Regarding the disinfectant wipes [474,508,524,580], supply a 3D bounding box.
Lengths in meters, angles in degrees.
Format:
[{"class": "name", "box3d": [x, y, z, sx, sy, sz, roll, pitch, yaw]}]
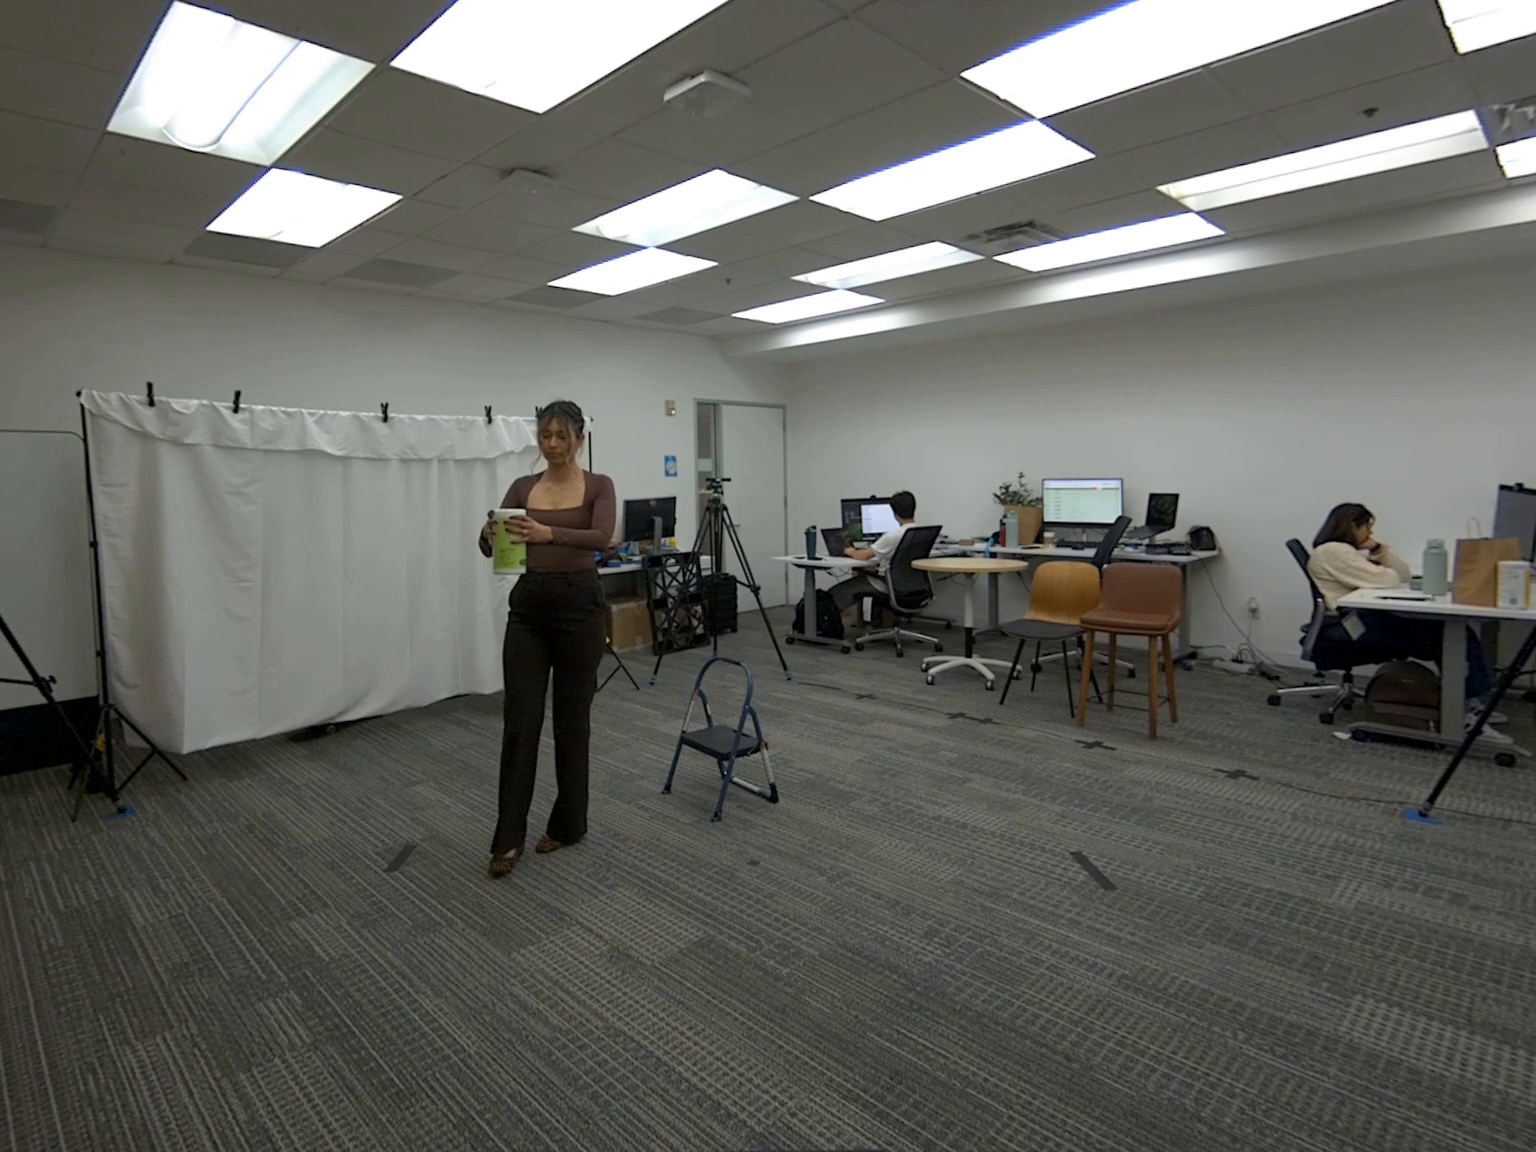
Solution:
[{"class": "disinfectant wipes", "box3d": [-0.886, -0.108, 2.839, 0.118, 0.217, 0.118, 6, 0, -2]}]
